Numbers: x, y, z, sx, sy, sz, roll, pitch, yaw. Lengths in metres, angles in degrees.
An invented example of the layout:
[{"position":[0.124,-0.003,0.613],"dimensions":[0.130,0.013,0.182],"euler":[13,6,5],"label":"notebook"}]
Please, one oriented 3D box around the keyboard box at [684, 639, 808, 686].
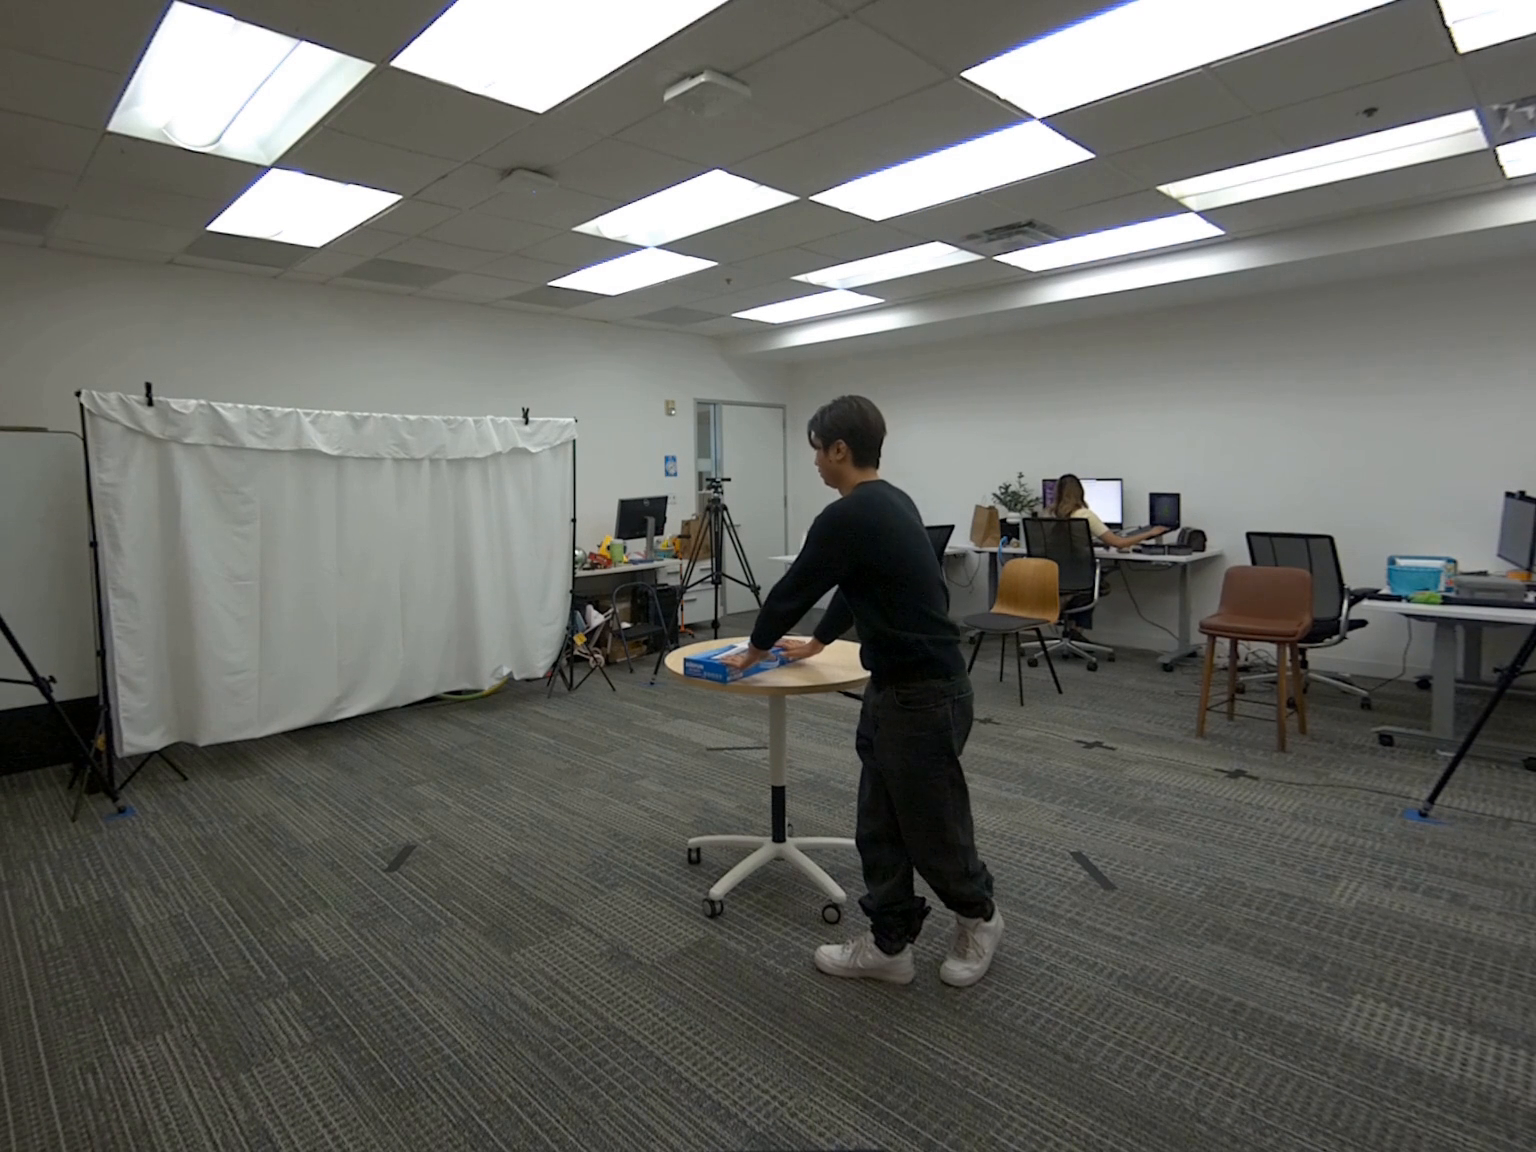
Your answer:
[{"position":[-0.065,0.270,2.793],"dimensions":[0.181,0.059,0.426],"euler":[6,9,36],"label":"keyboard box"}]
